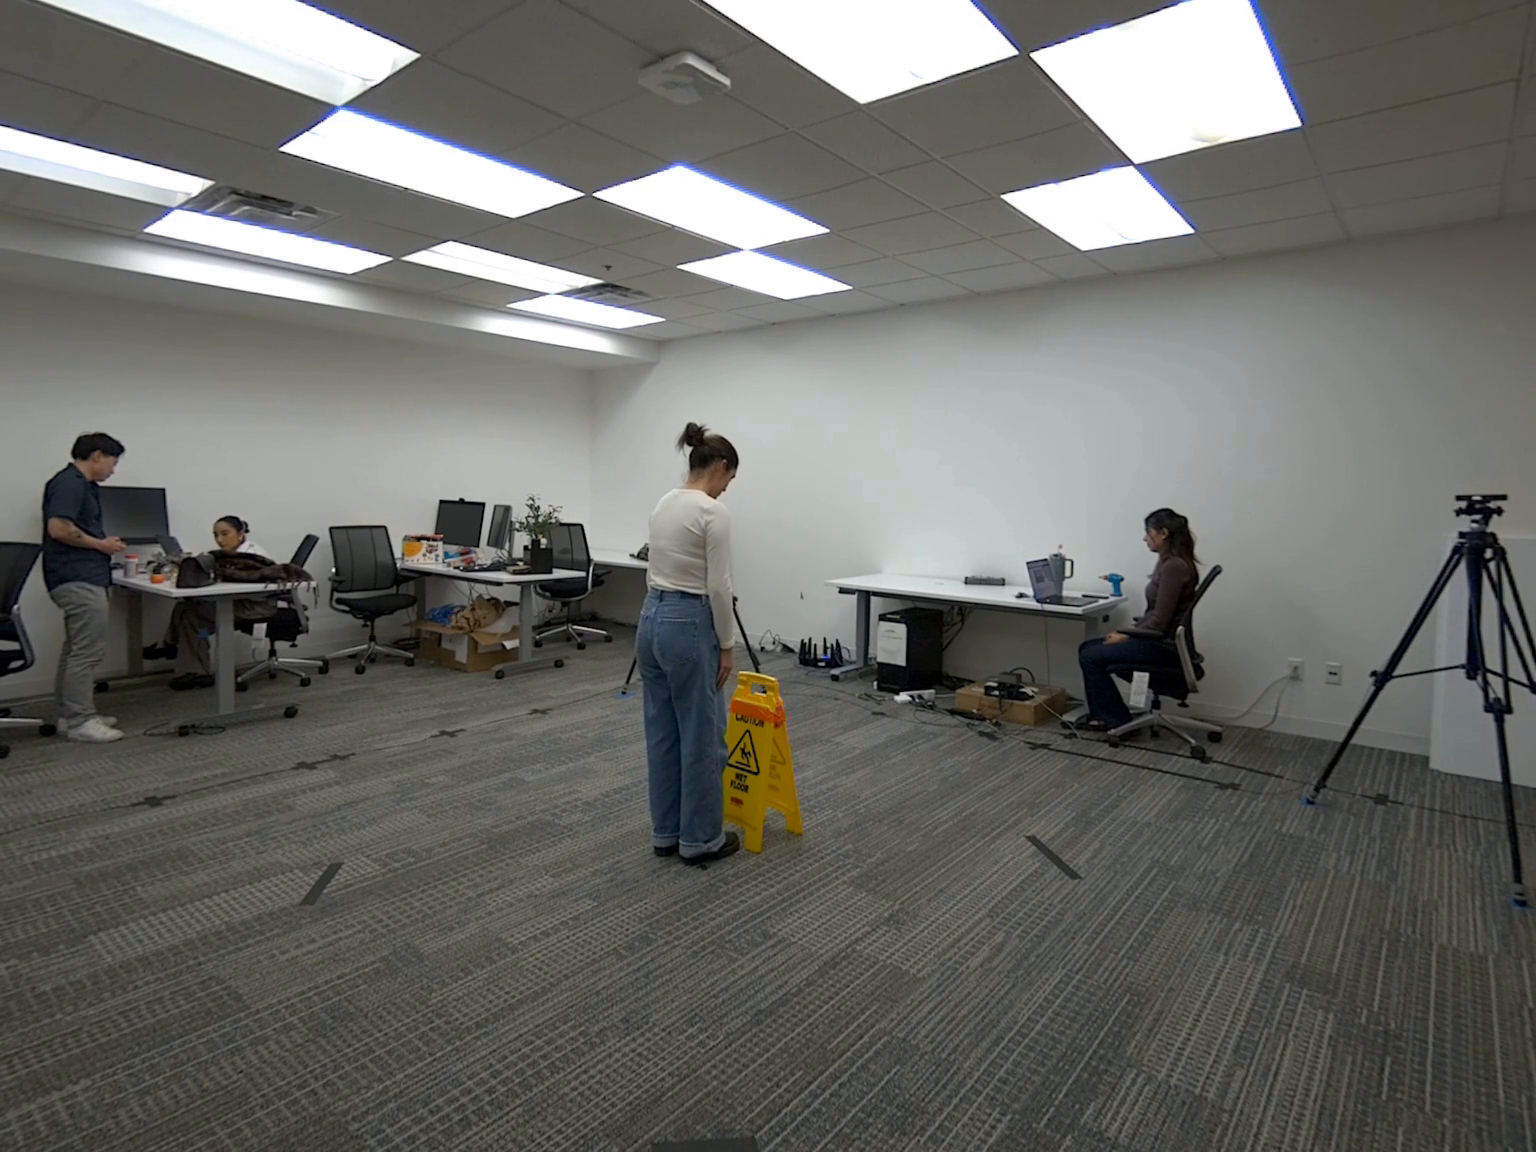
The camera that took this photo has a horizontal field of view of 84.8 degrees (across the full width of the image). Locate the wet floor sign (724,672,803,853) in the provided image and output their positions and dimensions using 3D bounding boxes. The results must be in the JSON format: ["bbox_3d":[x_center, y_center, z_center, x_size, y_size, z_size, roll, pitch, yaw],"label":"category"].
[{"bbox_3d":[-0.058,0.713,3.410,0.292,0.644,0.281,4,4,42],"label":"wet floor sign"}]
